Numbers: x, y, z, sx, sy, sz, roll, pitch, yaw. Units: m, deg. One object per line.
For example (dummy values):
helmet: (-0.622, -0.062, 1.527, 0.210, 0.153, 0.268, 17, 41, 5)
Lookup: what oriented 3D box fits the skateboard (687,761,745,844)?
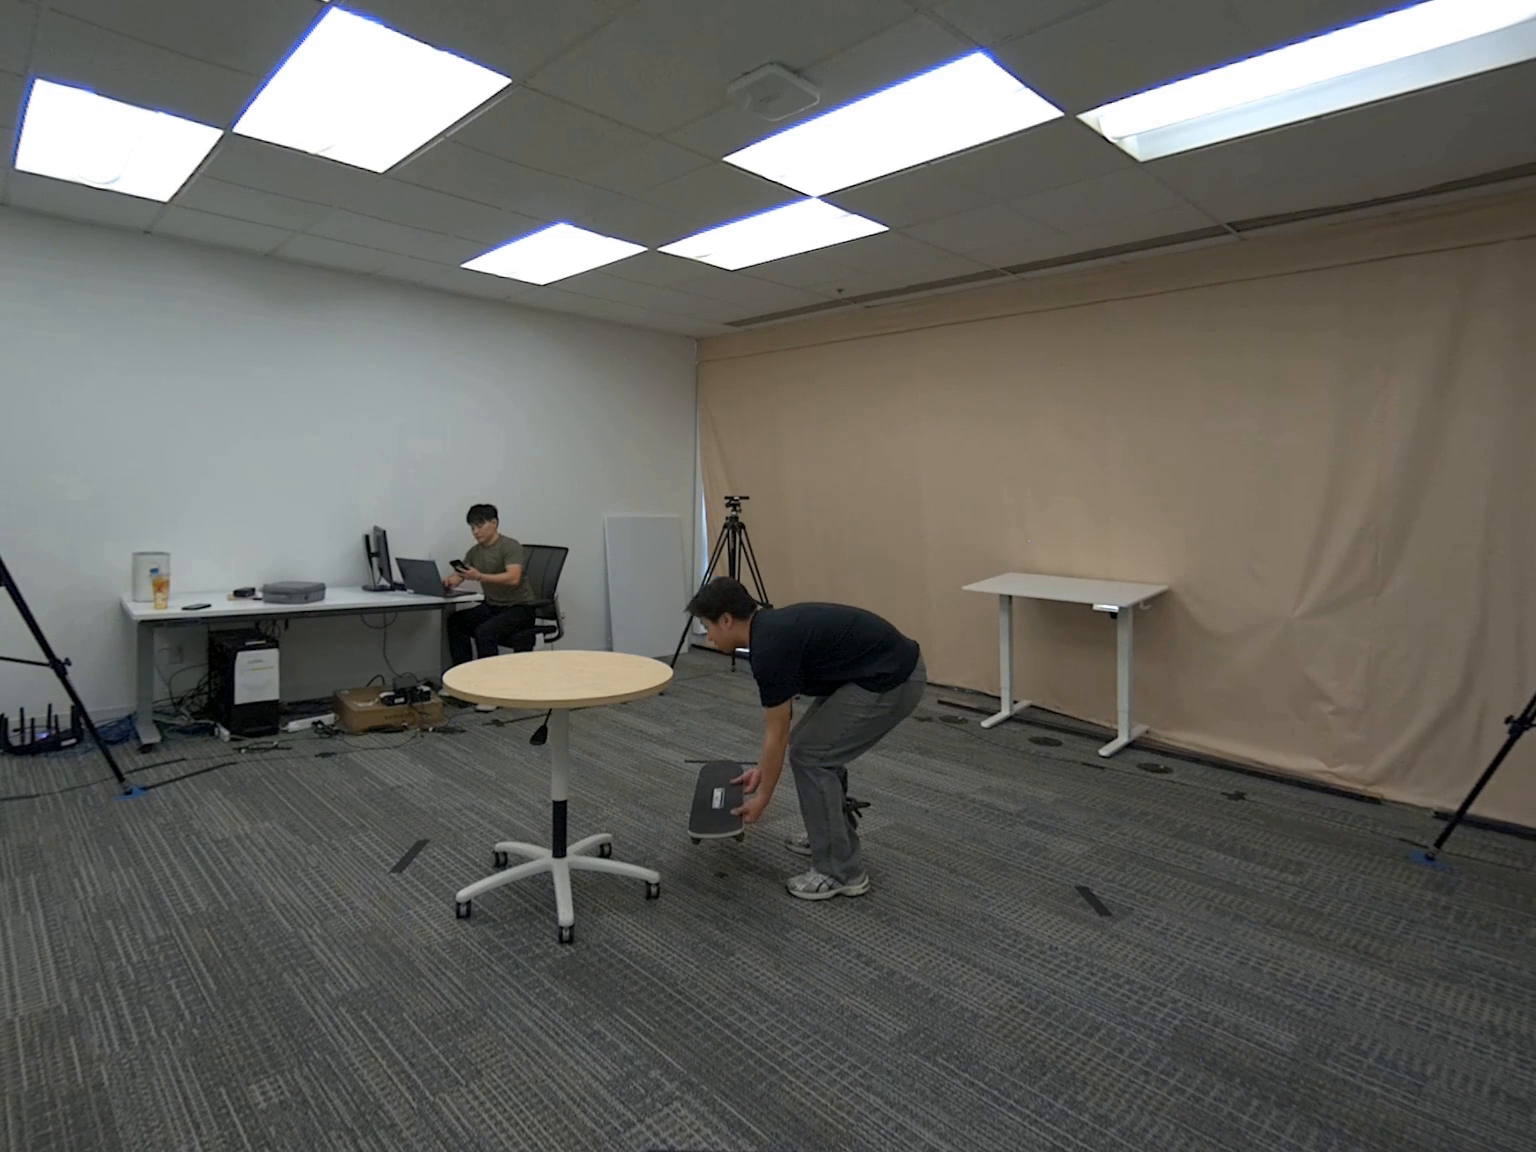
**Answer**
skateboard: (-0.185, 0.856, 3.151, 0.193, 0.110, 0.788, -5, 6, -1)
